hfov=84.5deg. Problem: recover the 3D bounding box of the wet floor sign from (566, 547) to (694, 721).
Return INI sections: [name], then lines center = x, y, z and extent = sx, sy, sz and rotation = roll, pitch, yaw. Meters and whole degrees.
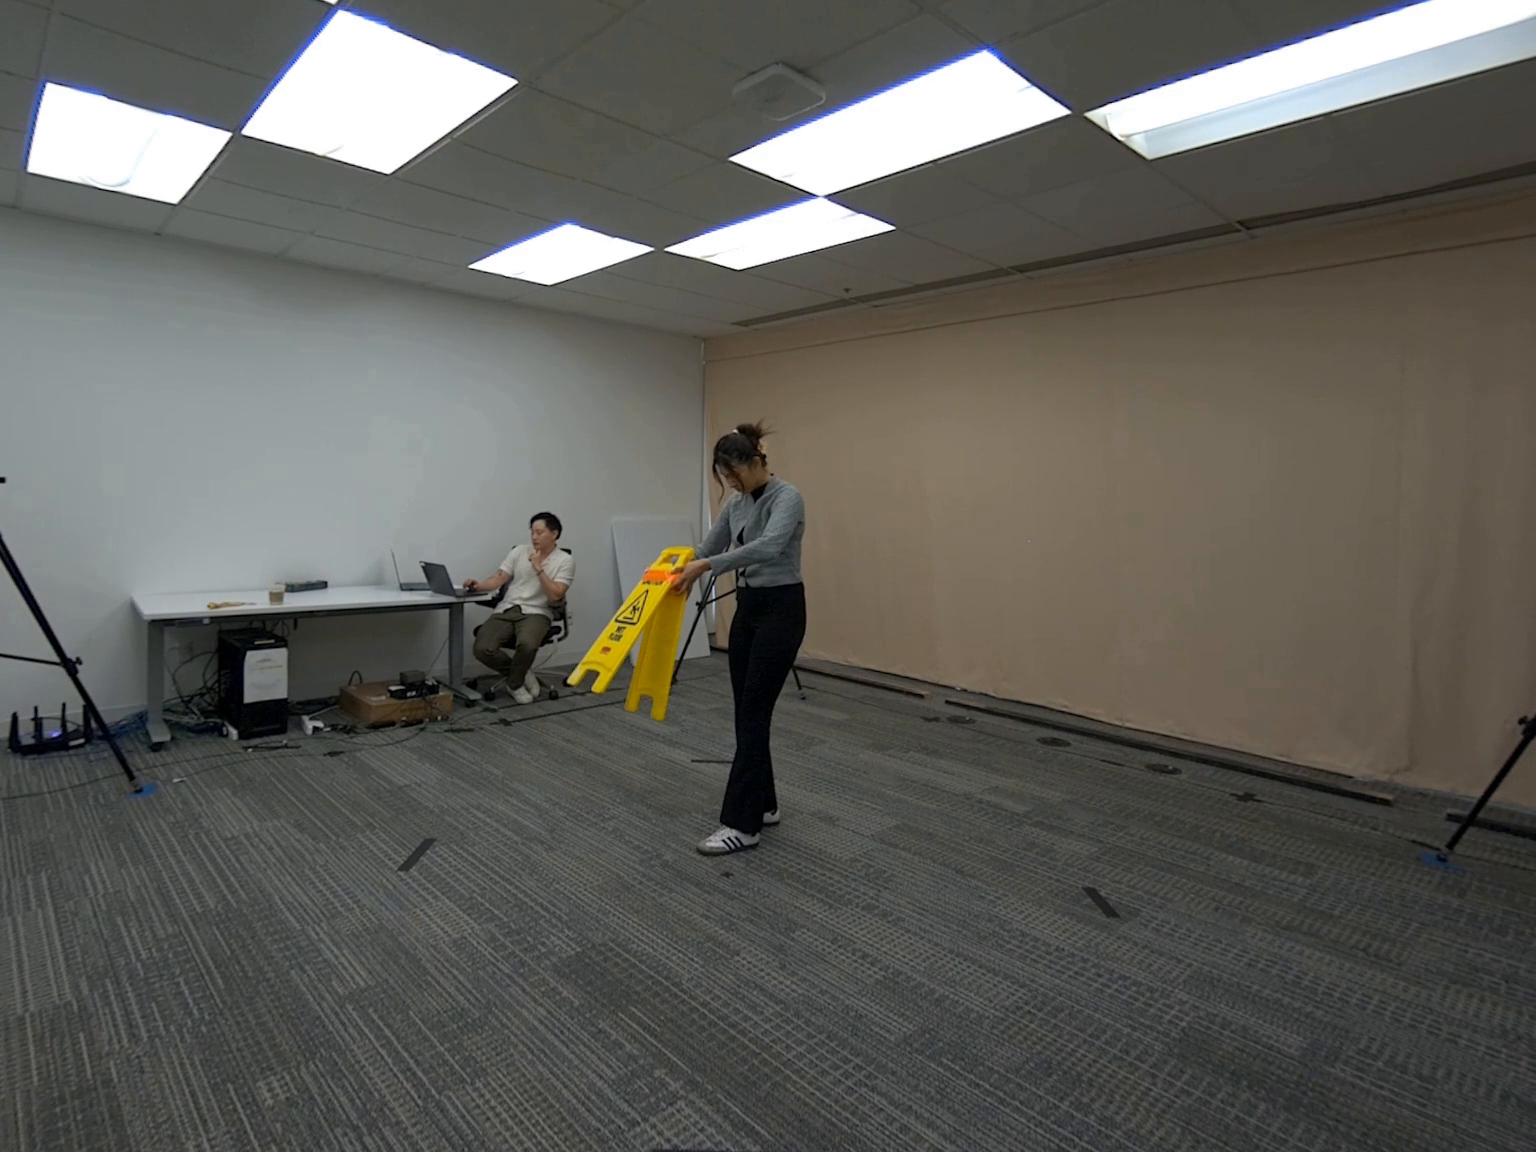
[wet floor sign]
center = -0.469, 0.179, 3.211
extent = 0.281, 0.650, 0.288
rotation = 31, -18, -33
